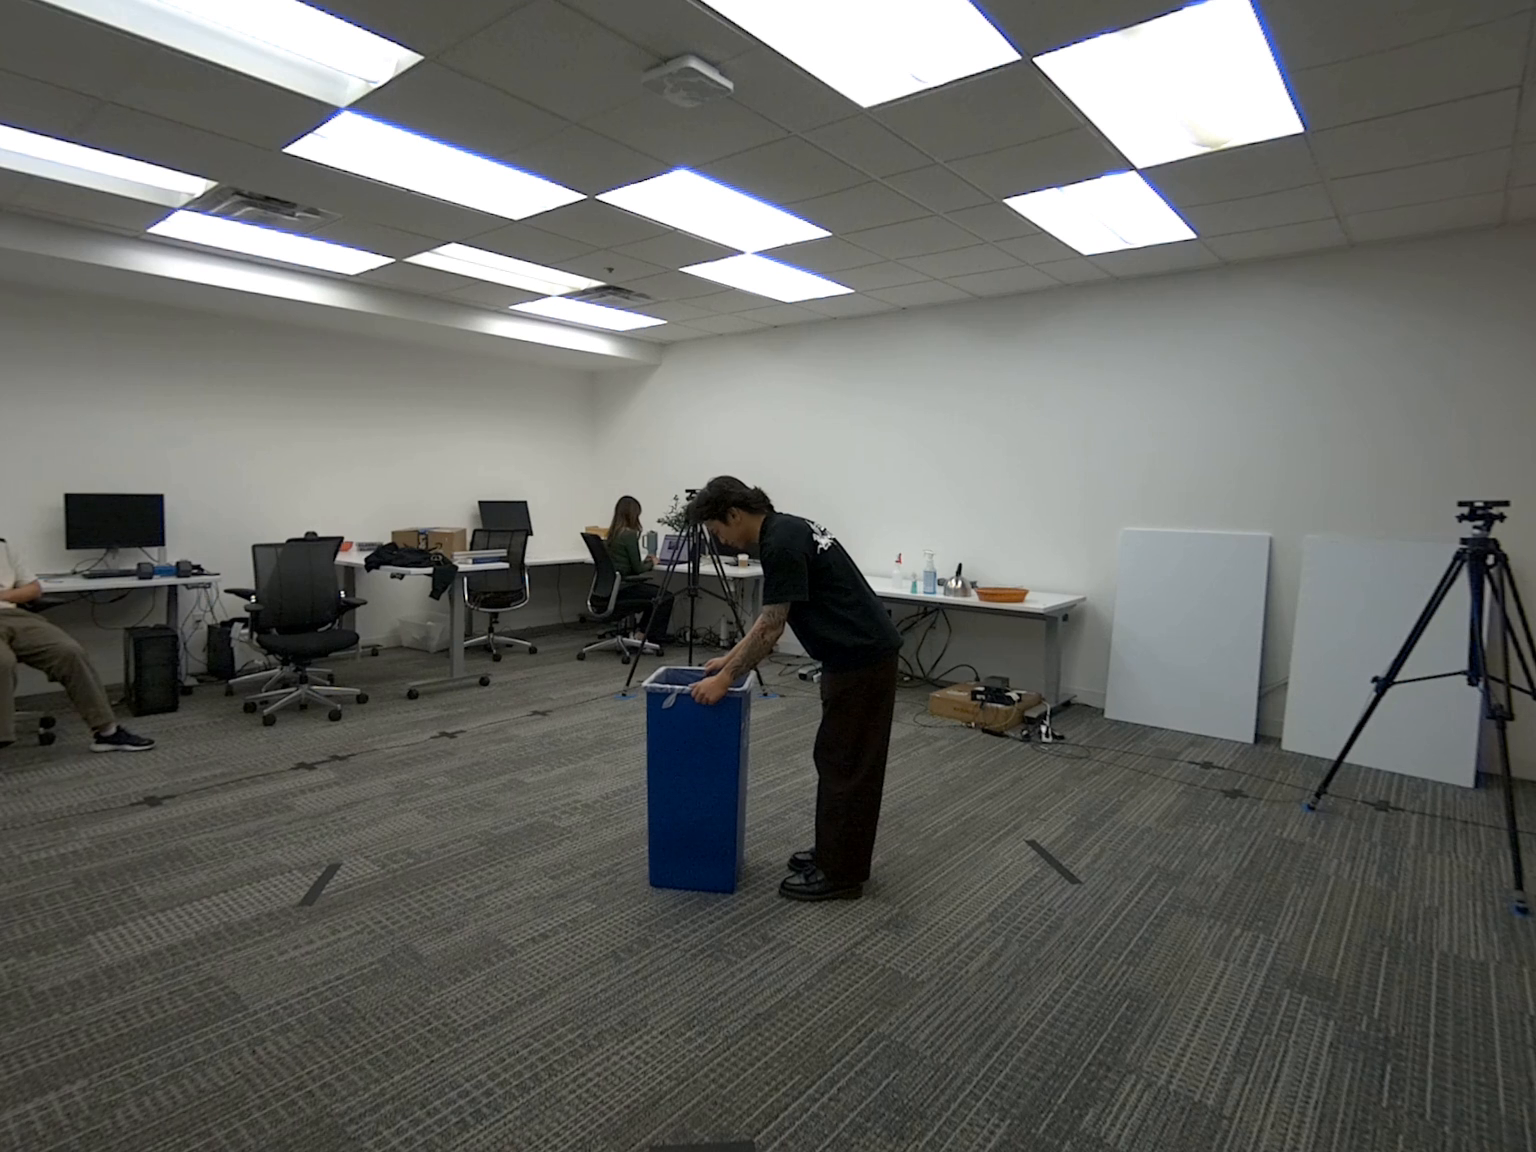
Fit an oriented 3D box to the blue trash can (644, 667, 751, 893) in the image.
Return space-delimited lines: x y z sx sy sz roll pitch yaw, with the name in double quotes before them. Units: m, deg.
"blue trash can" -0.257 0.714 3.088 0.381 0.712 0.372 2 3 6
